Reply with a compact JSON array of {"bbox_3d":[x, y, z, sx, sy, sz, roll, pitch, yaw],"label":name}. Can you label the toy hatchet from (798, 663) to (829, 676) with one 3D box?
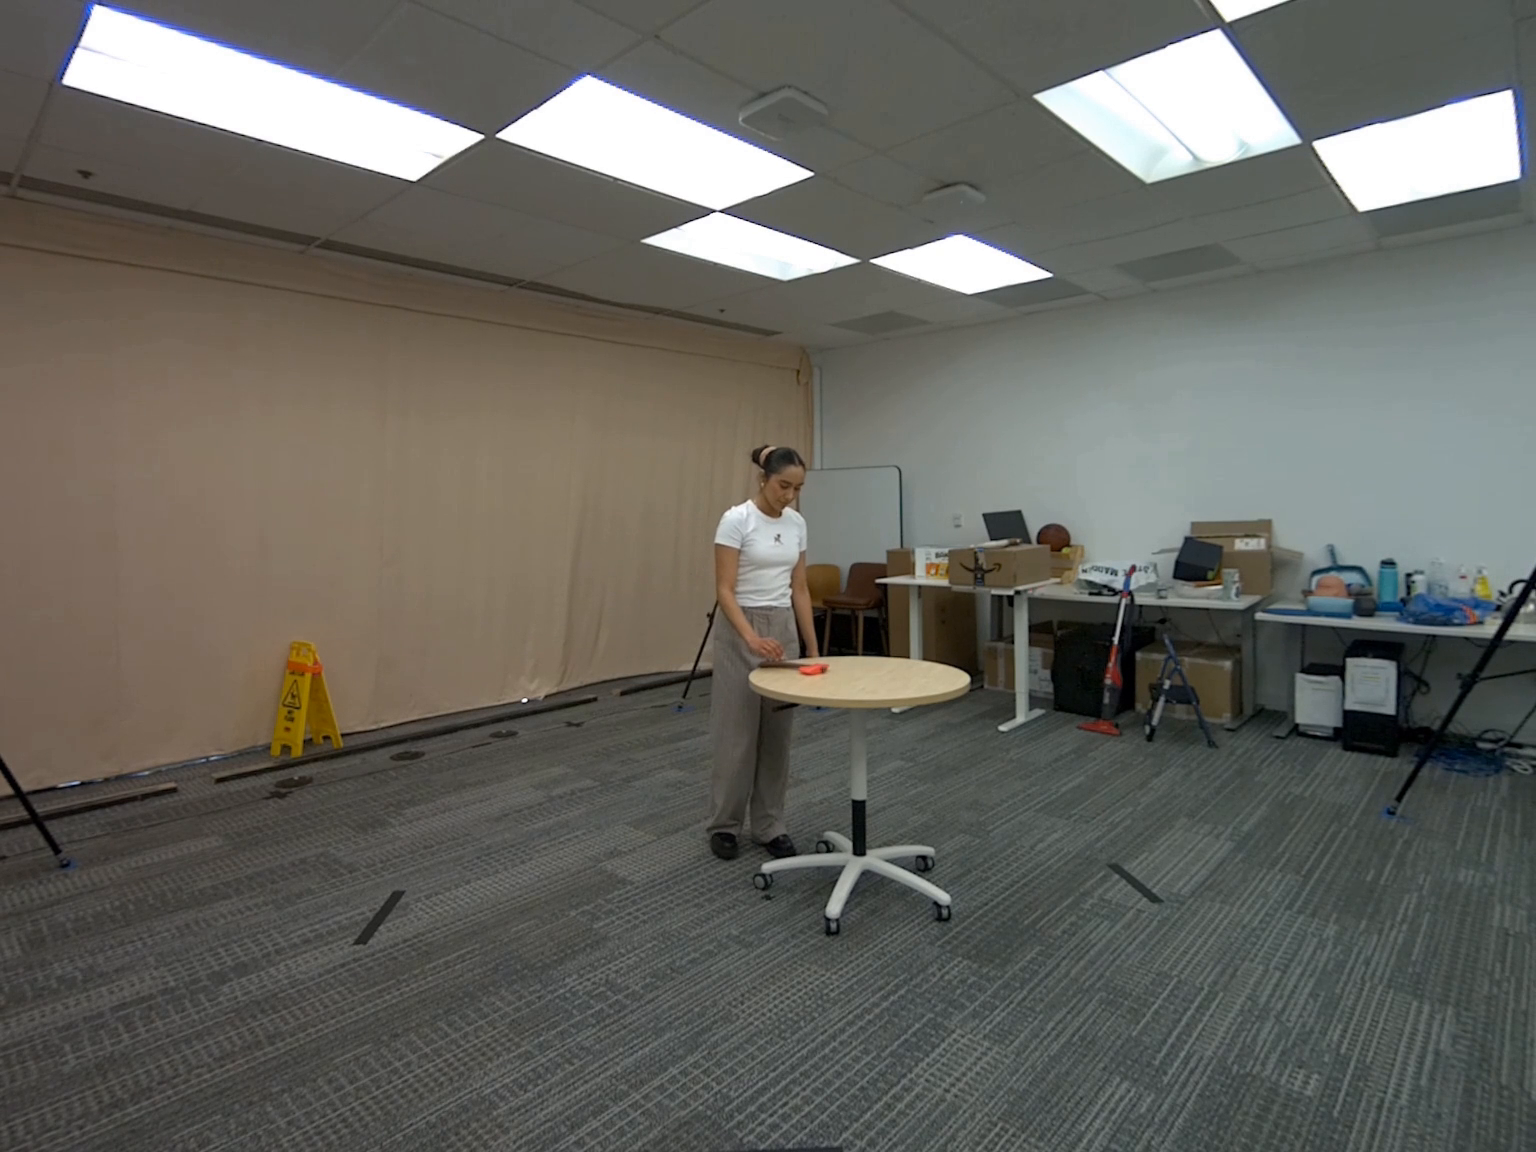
[{"bbox_3d":[0.076,0.336,3.070,0.276,0.029,0.129,-1,8,21],"label":"toy hatchet"}]
